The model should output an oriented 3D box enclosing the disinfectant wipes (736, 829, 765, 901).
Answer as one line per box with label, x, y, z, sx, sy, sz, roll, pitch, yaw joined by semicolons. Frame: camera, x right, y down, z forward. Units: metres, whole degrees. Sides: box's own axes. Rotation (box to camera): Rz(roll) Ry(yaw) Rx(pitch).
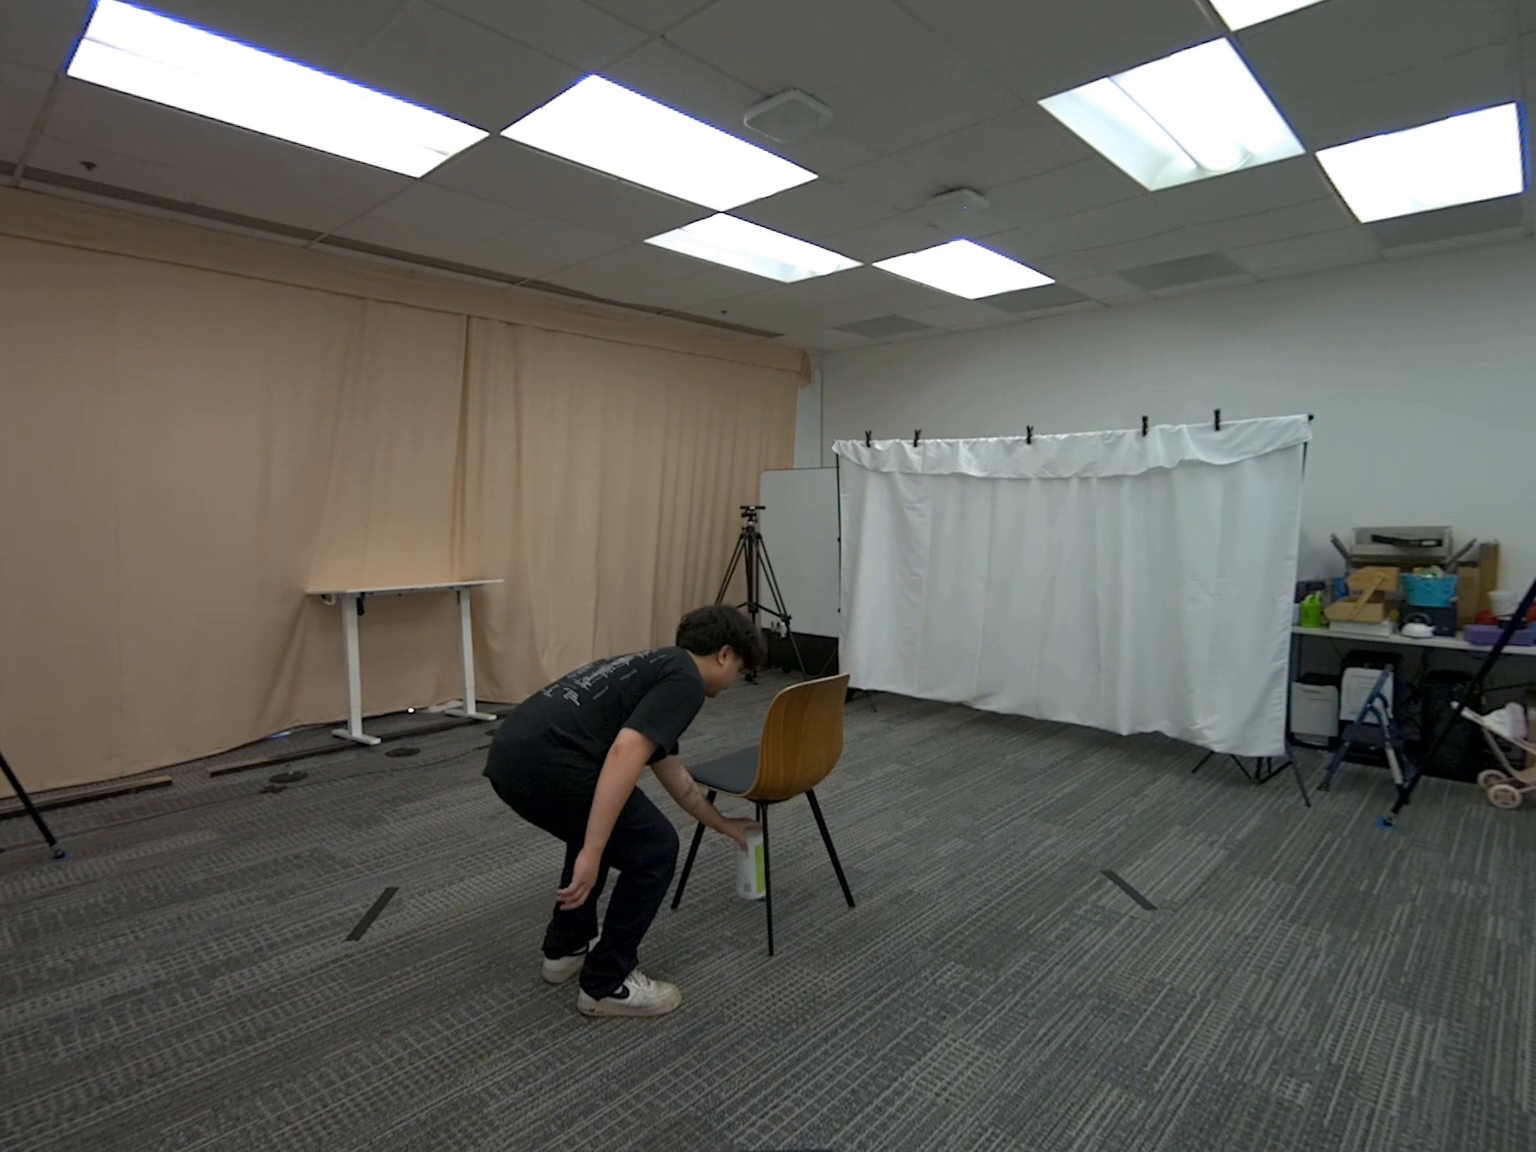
disinfectant wipes;-0.054;0.968;2.809;0.118;0.217;0.118;-4;4;-2
